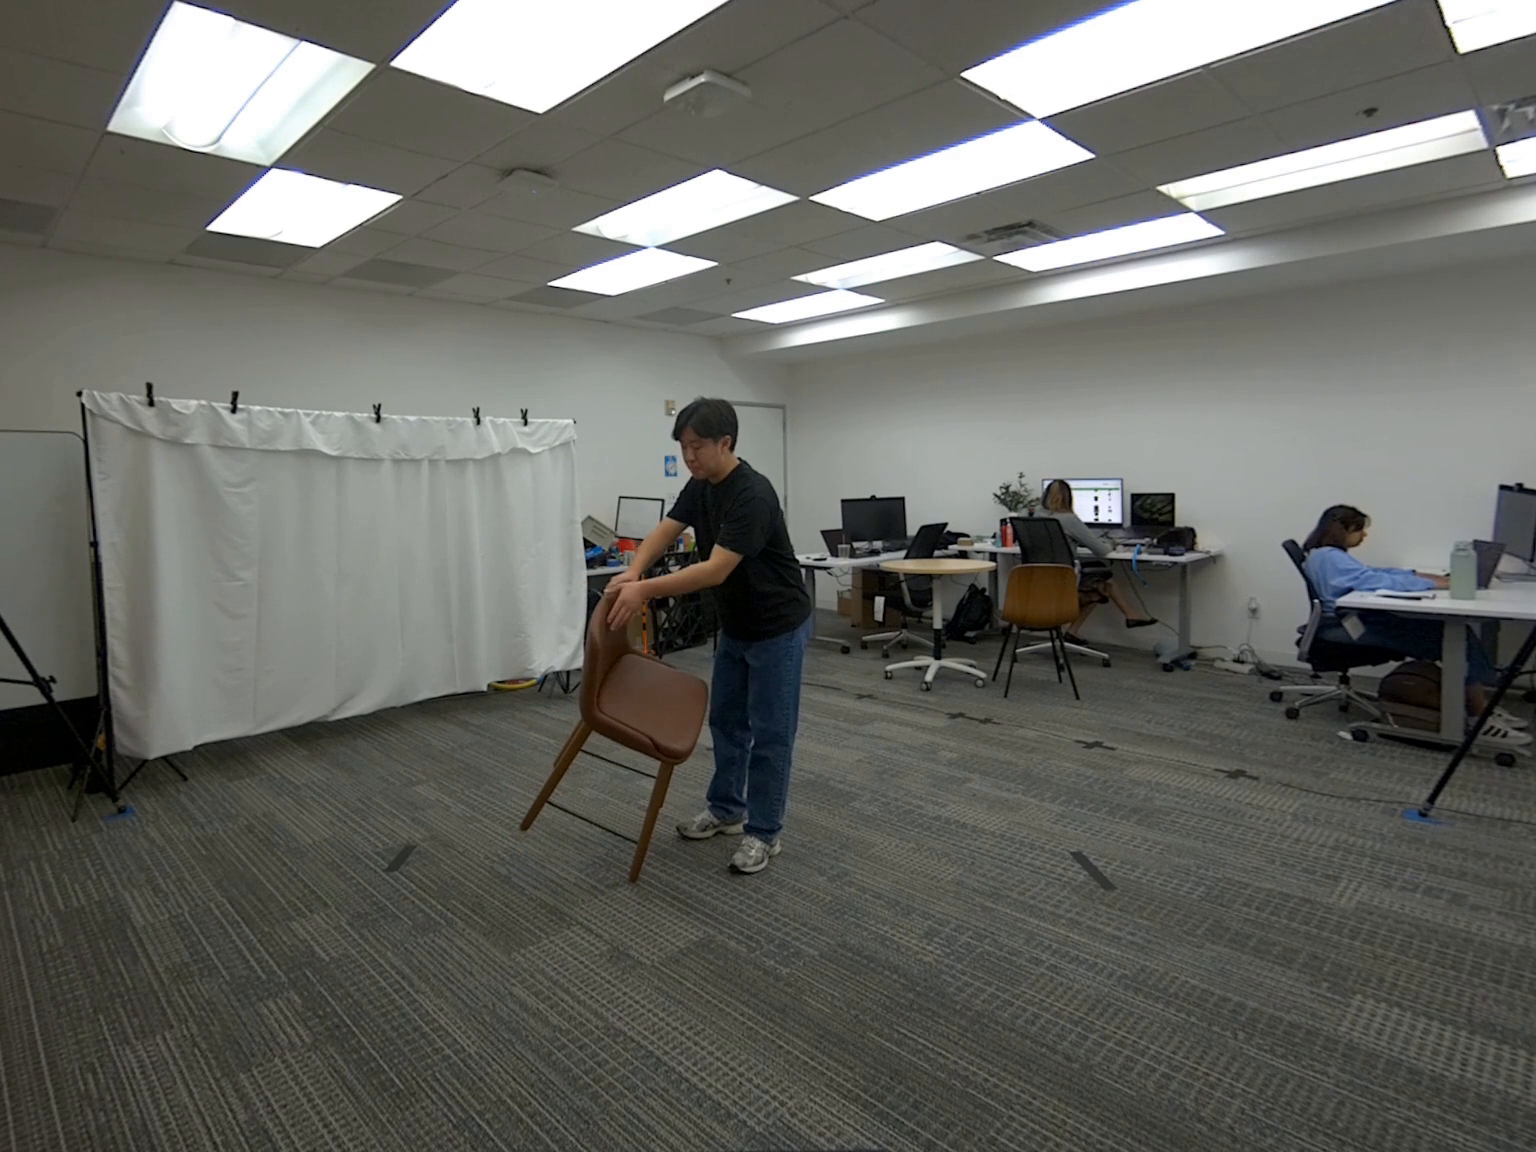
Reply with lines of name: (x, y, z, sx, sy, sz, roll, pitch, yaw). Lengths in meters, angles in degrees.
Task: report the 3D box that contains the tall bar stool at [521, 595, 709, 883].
tall bar stool: (-0.474, 0.542, 2.967, 0.468, 0.880, 0.461, 22, 24, -1)
